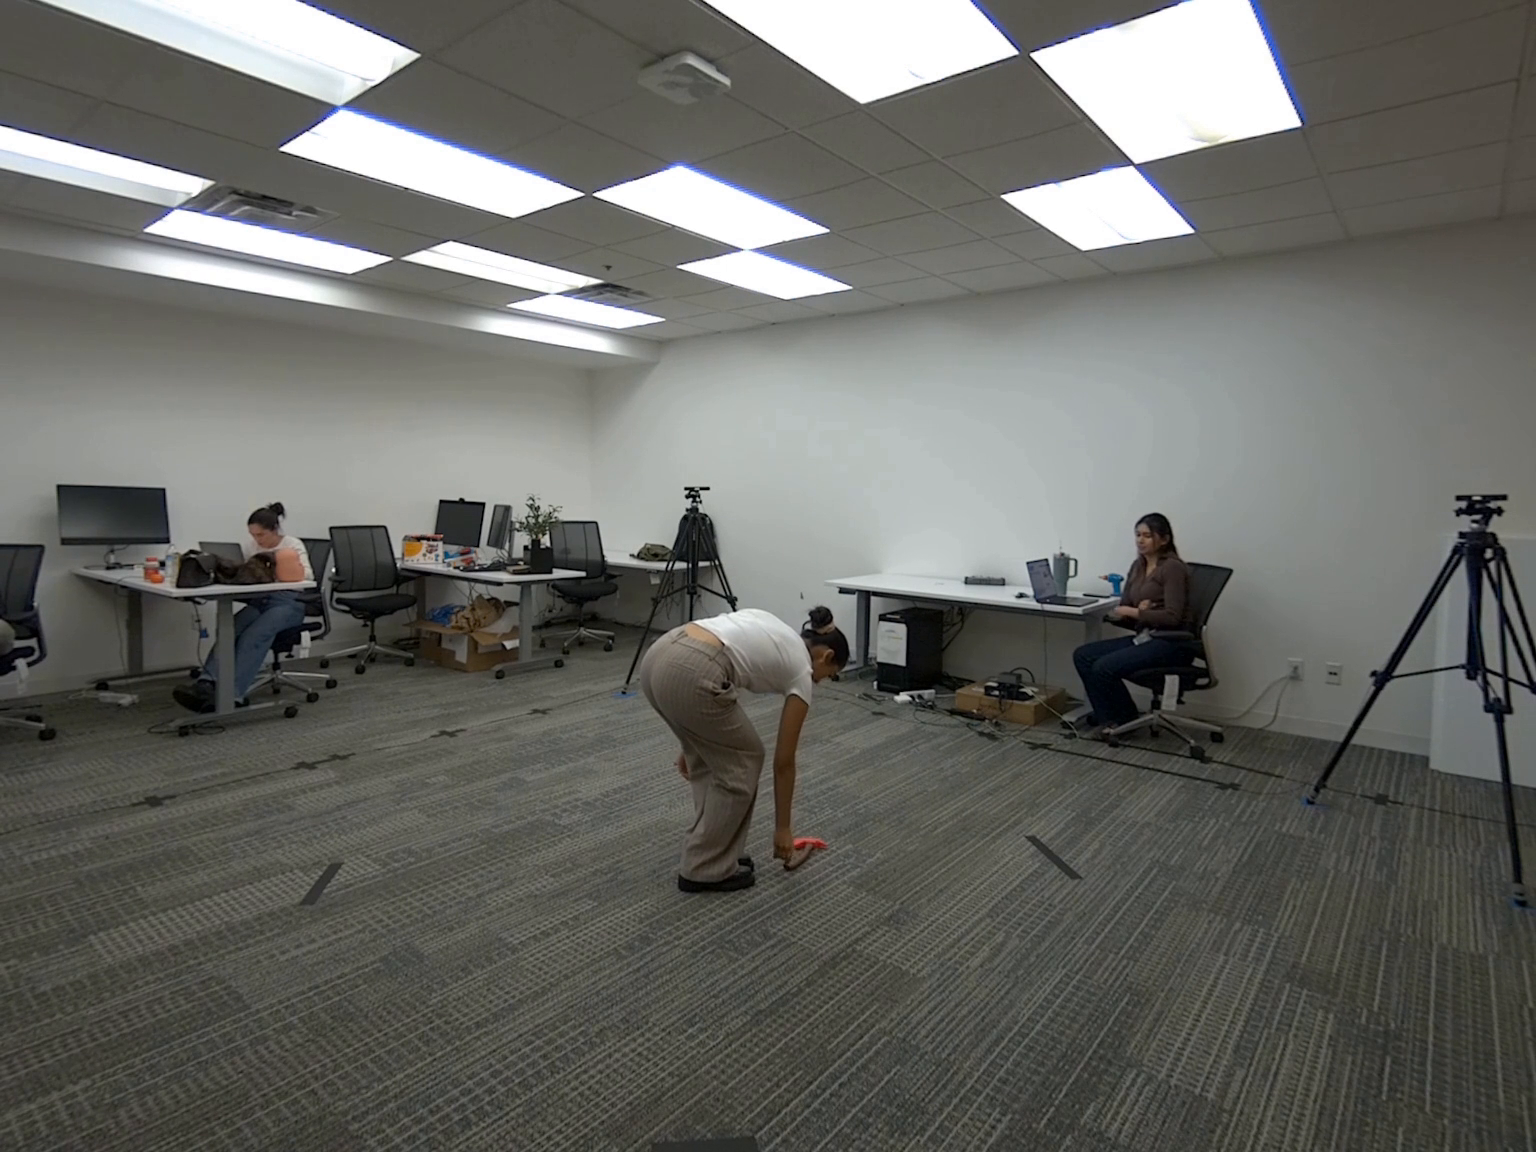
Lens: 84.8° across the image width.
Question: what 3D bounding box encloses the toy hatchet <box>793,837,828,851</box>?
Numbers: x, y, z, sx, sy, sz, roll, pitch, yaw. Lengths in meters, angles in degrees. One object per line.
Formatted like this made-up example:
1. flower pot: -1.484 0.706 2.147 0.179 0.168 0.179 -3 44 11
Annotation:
1. toy hatchet: 0.101 1.050 3.231 0.135 0.029 0.262 8 9 36
